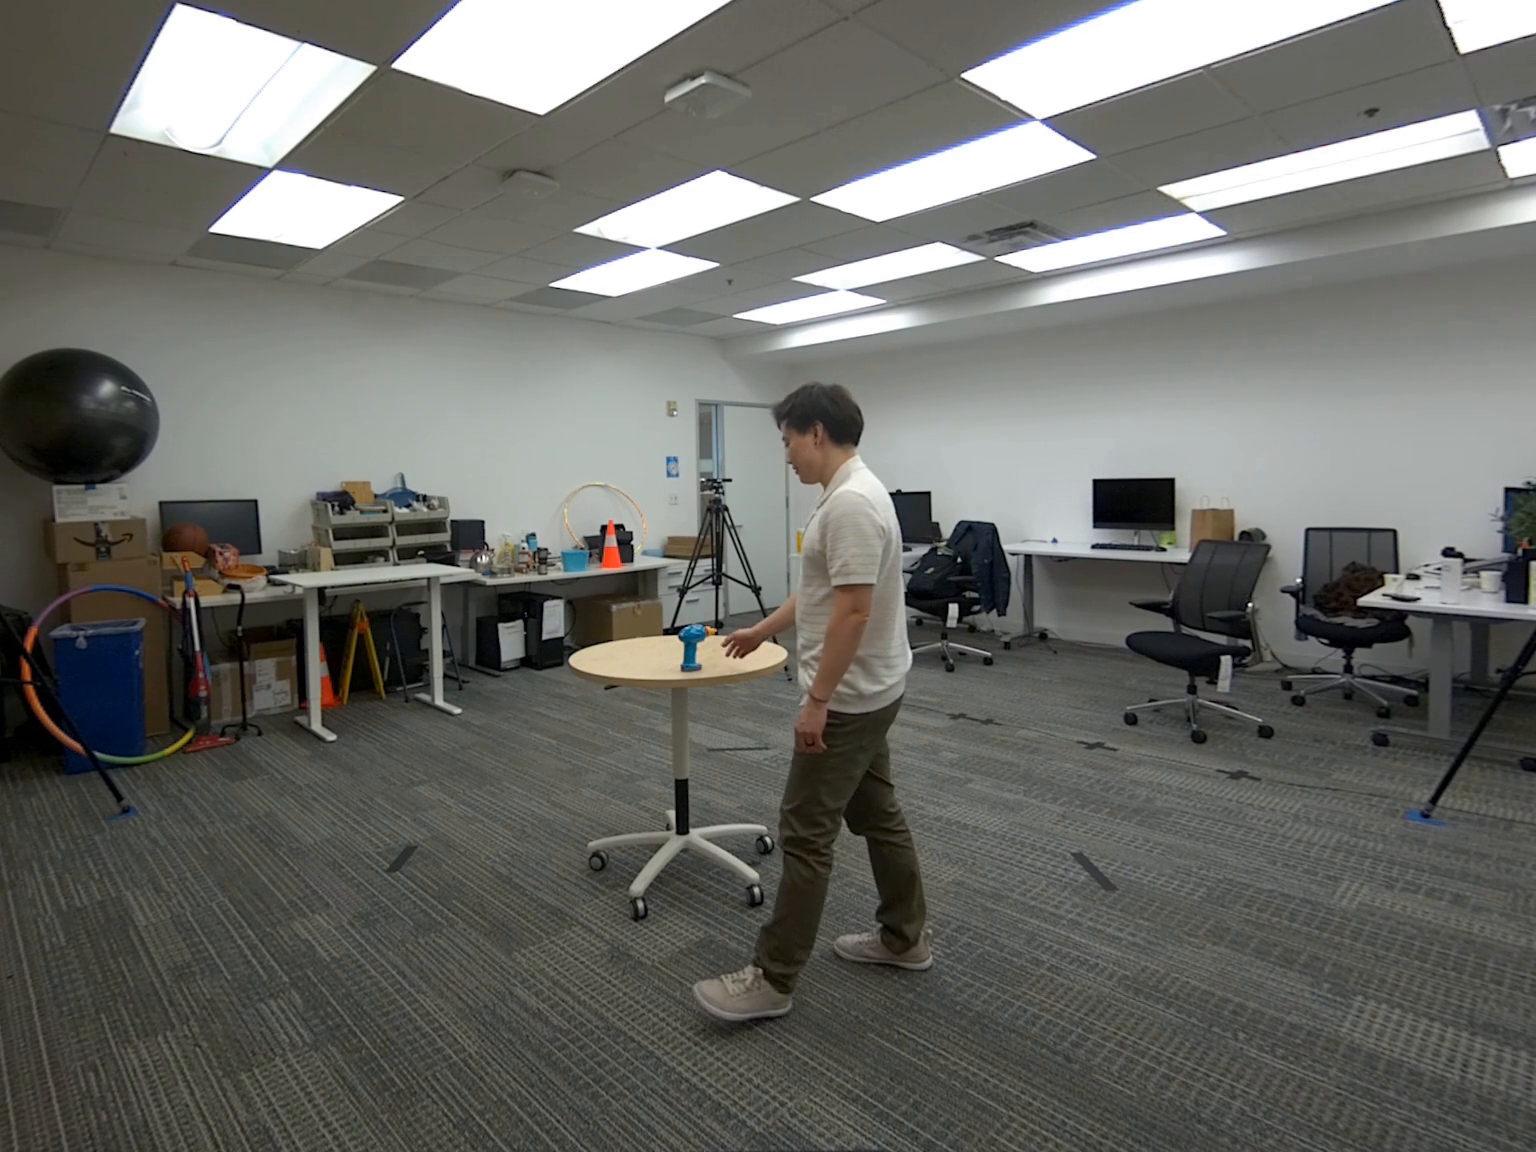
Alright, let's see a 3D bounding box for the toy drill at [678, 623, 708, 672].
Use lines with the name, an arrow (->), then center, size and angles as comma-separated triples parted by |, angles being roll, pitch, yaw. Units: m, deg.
toy drill -> -0.223, 0.226, 2.784 | 0.063, 0.145, 0.165 | 2, 6, 37
